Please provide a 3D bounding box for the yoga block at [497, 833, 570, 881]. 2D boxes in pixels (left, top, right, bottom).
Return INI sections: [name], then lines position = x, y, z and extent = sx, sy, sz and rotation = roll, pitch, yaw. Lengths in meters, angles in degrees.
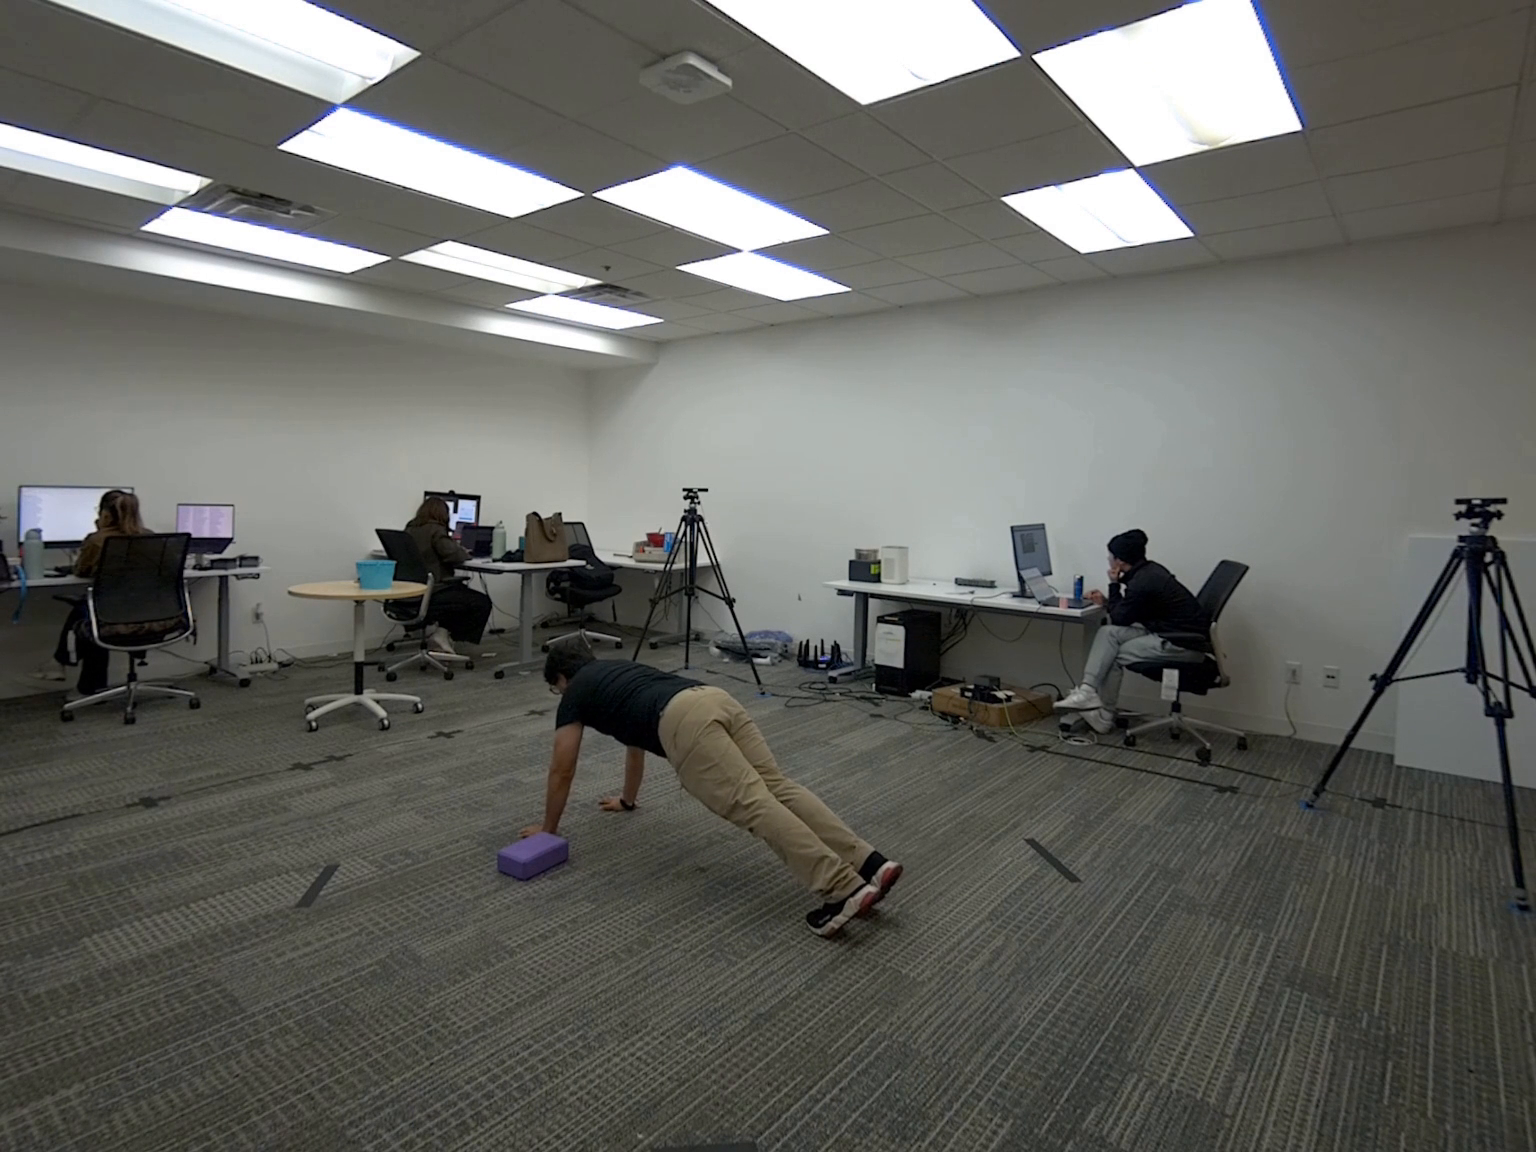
[yoga block]
position = -0.872, 1.018, 3.115
extent = 0.153, 0.076, 0.223
rotation = 2, 5, 32
